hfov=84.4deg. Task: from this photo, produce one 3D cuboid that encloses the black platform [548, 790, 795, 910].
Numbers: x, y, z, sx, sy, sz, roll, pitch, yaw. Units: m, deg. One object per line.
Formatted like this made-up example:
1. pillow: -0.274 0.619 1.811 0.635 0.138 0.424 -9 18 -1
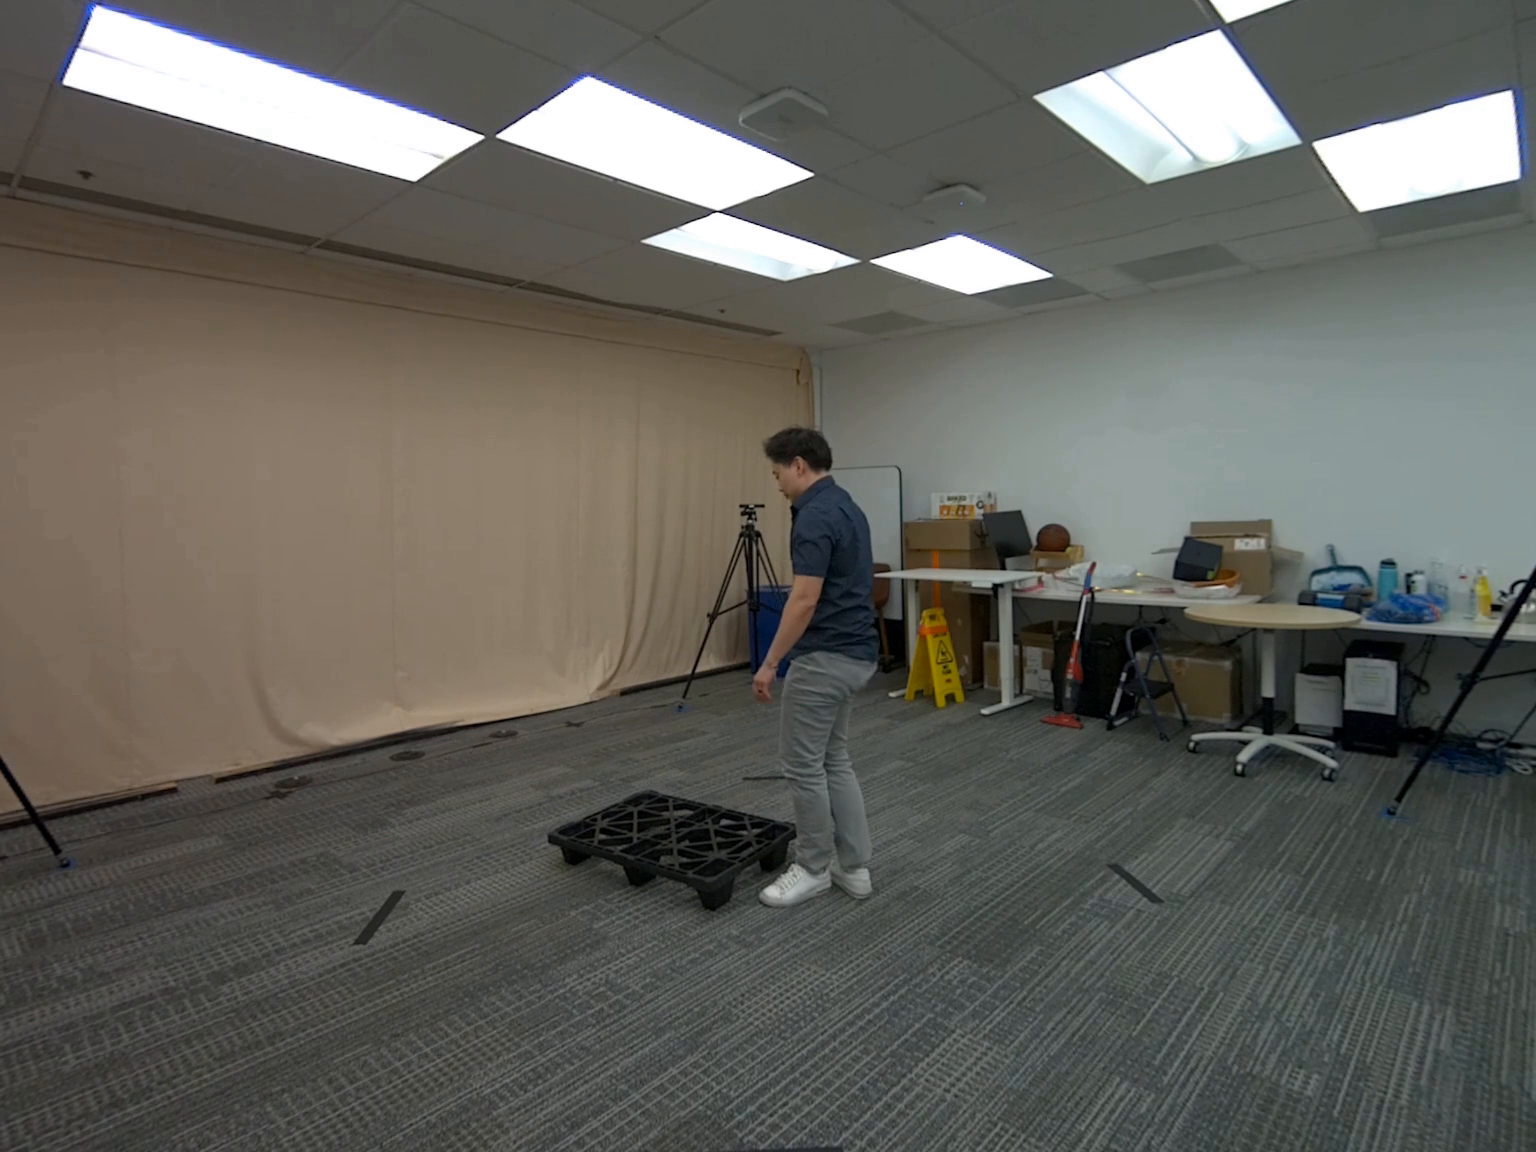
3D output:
1. black platform: -0.369 1.056 3.289 0.830 0.143 0.588 2 5 34
